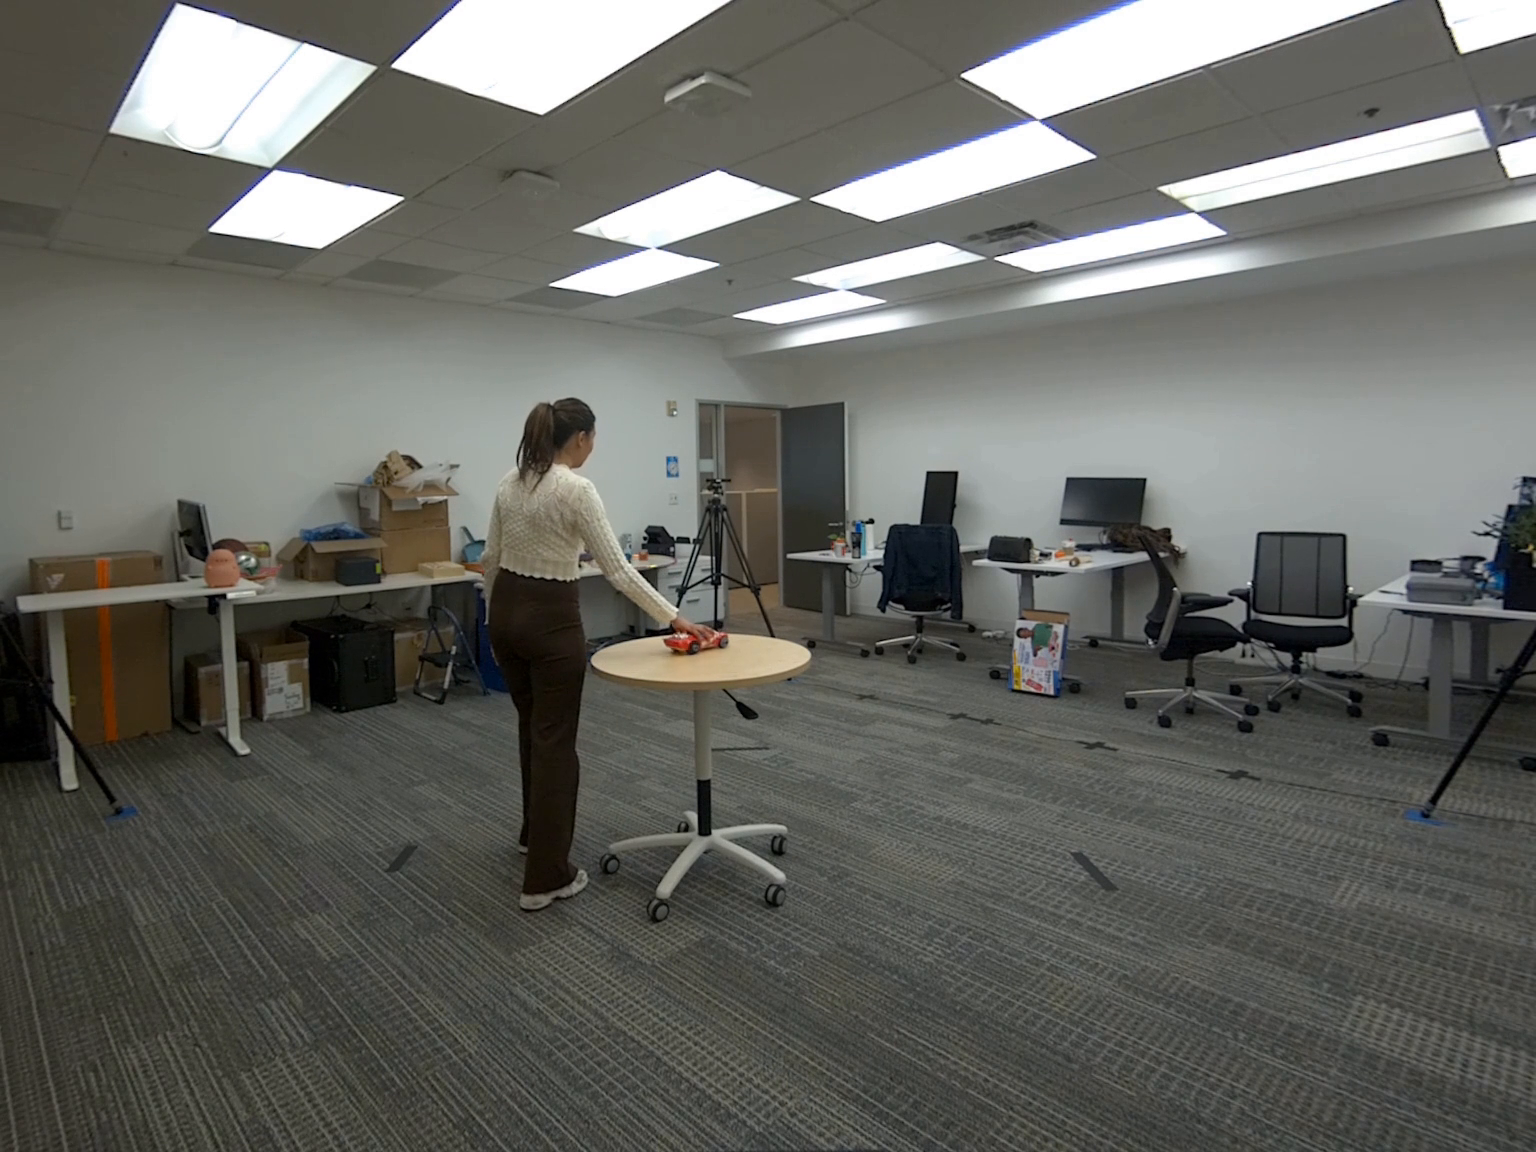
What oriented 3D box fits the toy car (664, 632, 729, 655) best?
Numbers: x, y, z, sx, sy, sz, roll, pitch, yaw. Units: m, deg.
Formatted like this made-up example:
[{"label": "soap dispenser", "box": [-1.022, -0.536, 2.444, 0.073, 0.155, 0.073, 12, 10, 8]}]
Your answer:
[{"label": "toy car", "box": [-0.262, 0.235, 3.063, 0.134, 0.083, 0.246, 8, 0, 45]}]
